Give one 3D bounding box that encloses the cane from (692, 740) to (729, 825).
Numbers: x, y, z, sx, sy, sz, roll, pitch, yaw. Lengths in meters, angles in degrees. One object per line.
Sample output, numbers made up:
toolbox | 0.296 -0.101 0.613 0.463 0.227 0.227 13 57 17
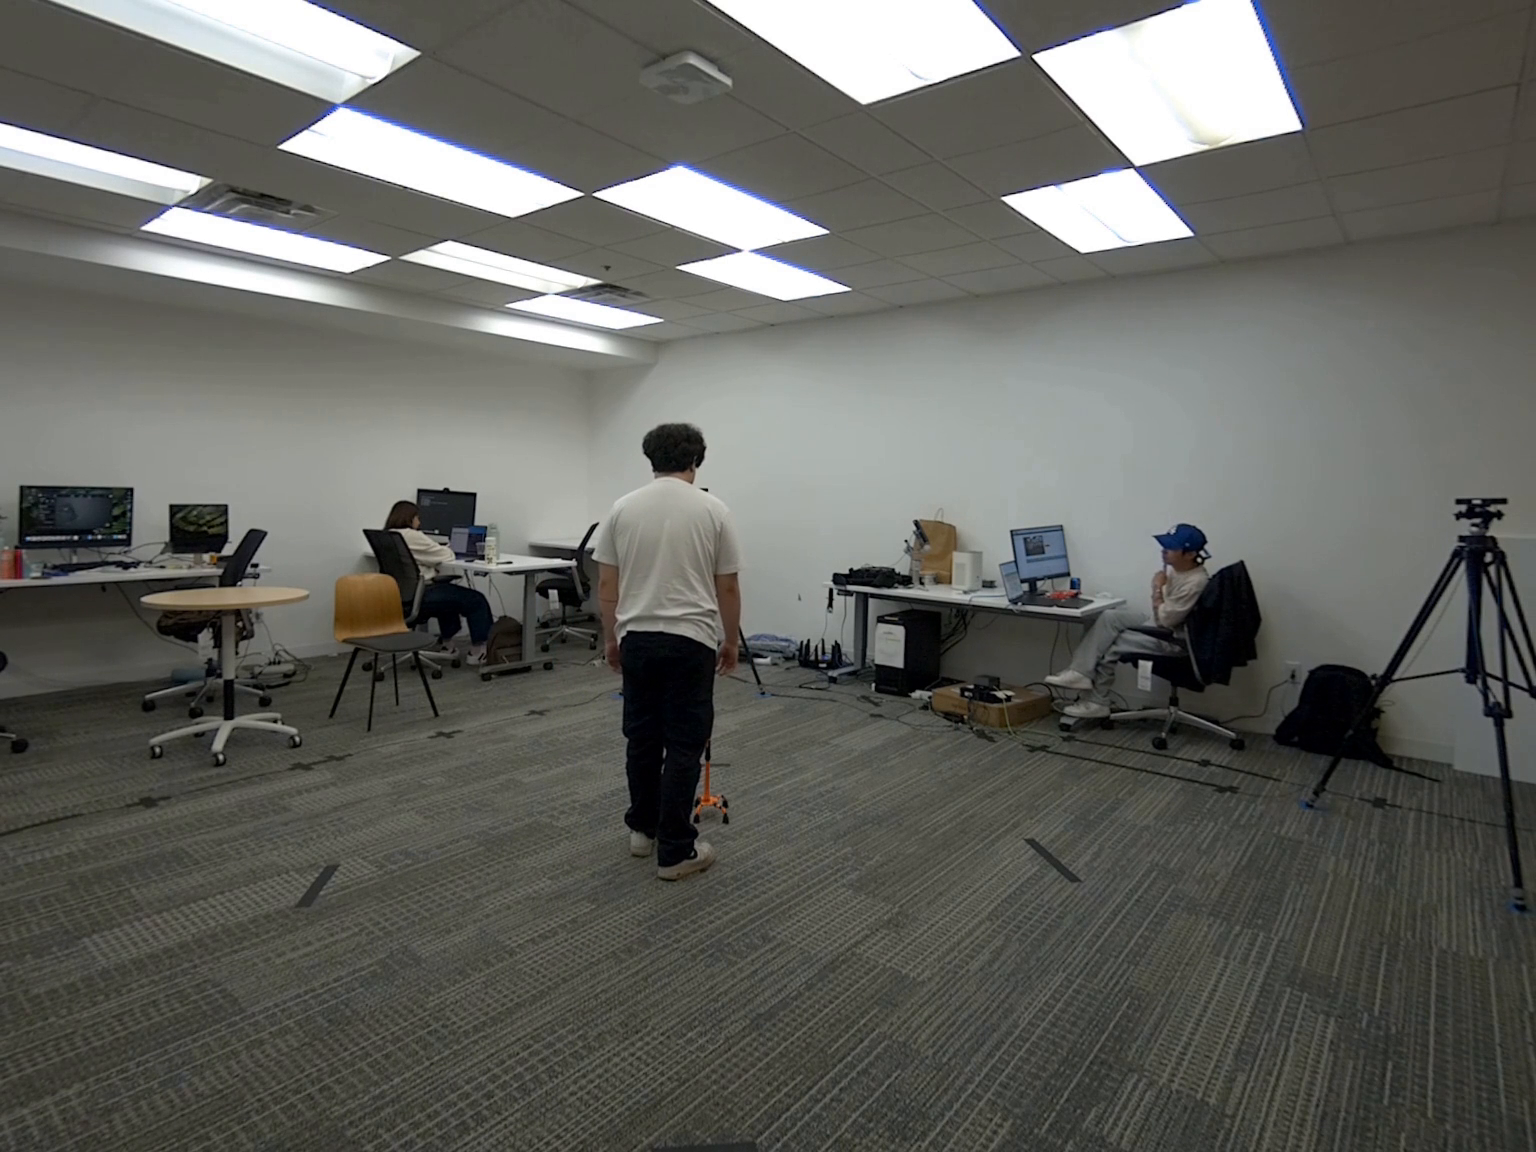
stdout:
cane | -0.249 0.566 3.617 0.151 0.906 0.207 0 3 -4
